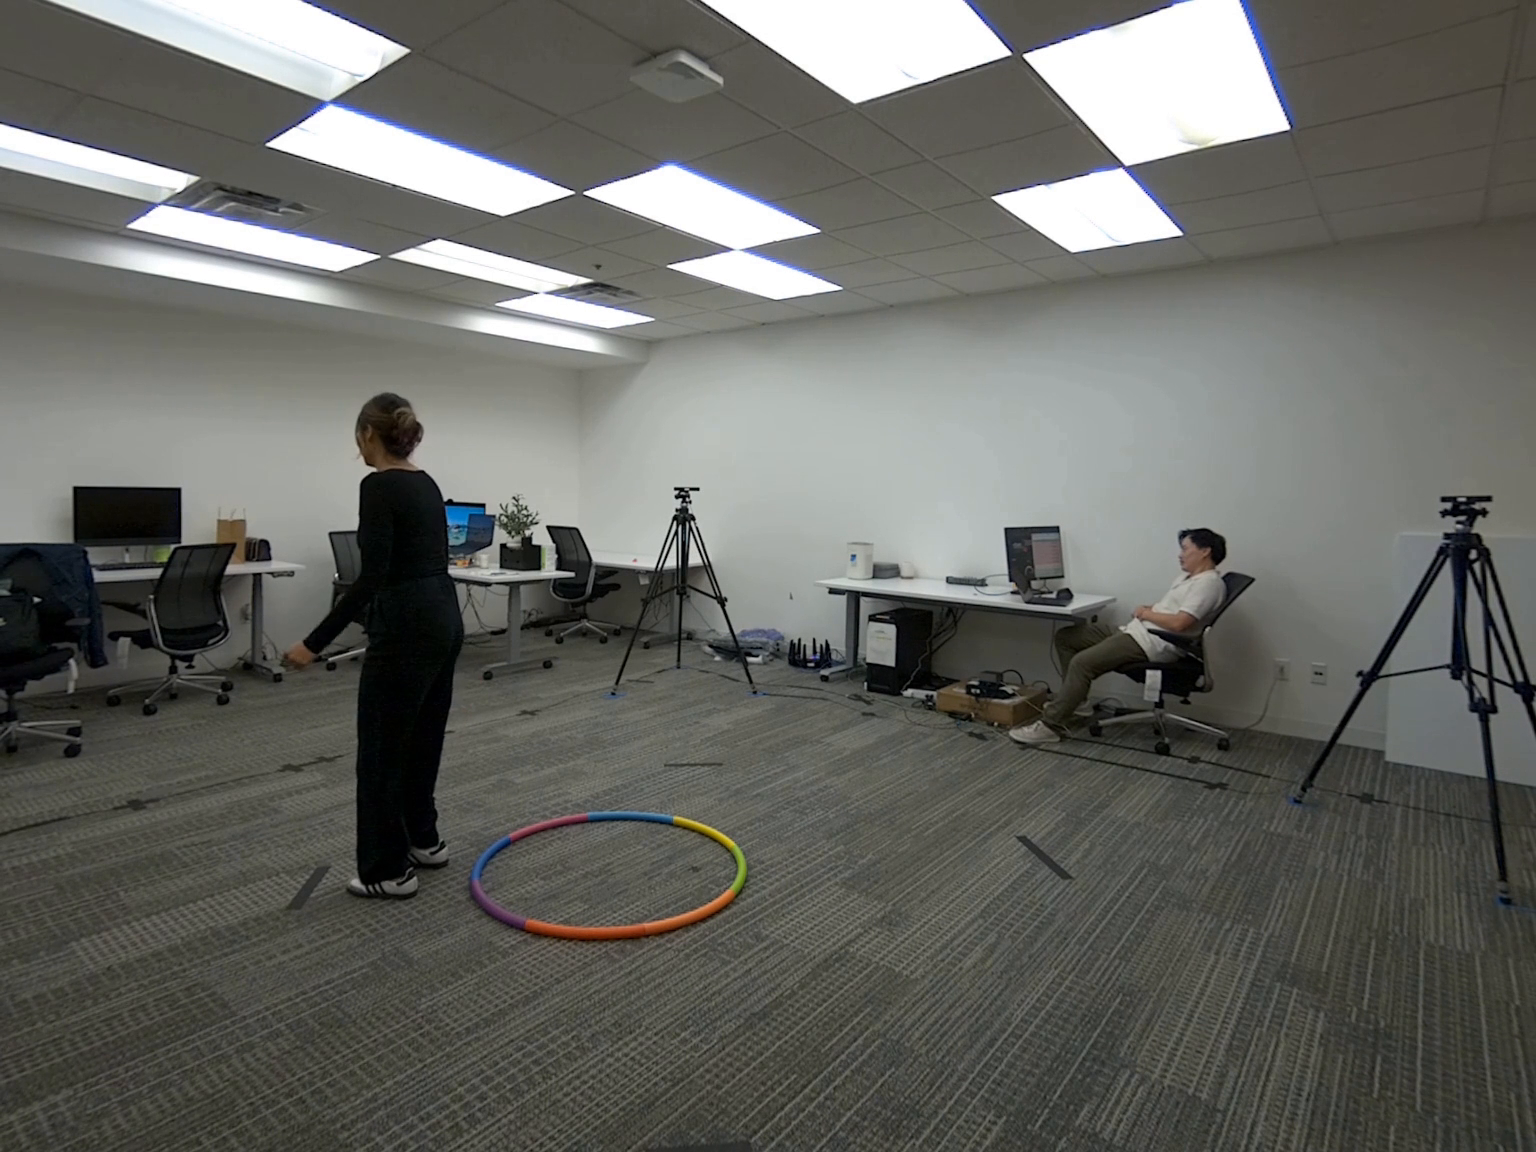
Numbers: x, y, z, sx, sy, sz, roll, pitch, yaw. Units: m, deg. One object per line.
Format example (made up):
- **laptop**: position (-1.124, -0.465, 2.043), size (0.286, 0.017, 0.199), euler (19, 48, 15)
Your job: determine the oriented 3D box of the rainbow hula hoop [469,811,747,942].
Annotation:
- **rainbow hula hoop**: position (-0.576, 1.033, 3.083), size (0.978, 0.035, 0.983), euler (1, 5, -2)
